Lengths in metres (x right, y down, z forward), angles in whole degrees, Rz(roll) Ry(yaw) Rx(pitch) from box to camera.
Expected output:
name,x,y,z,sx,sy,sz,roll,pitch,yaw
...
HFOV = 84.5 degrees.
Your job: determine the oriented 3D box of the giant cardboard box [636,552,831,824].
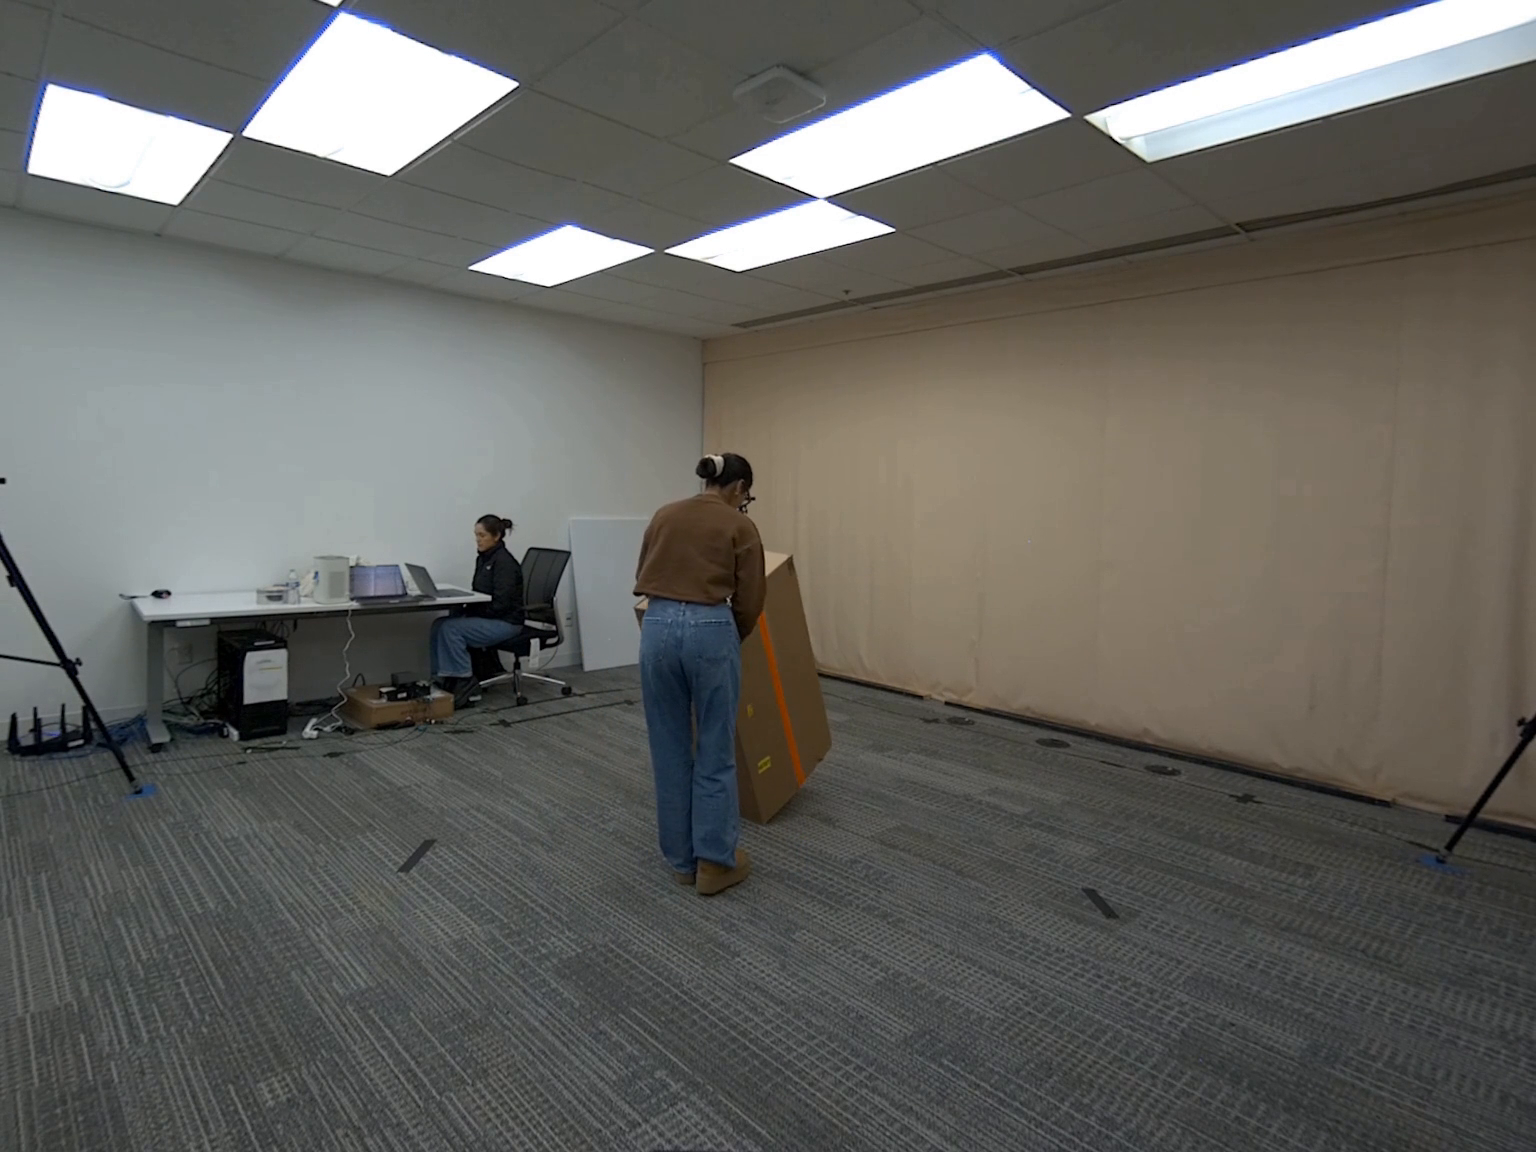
name,x,y,z,sx,sy,sz,roll,pitch,yaw
giant cardboard box,-0.132,0.468,3.717,0.437,1.006,0.574,8,32,39
